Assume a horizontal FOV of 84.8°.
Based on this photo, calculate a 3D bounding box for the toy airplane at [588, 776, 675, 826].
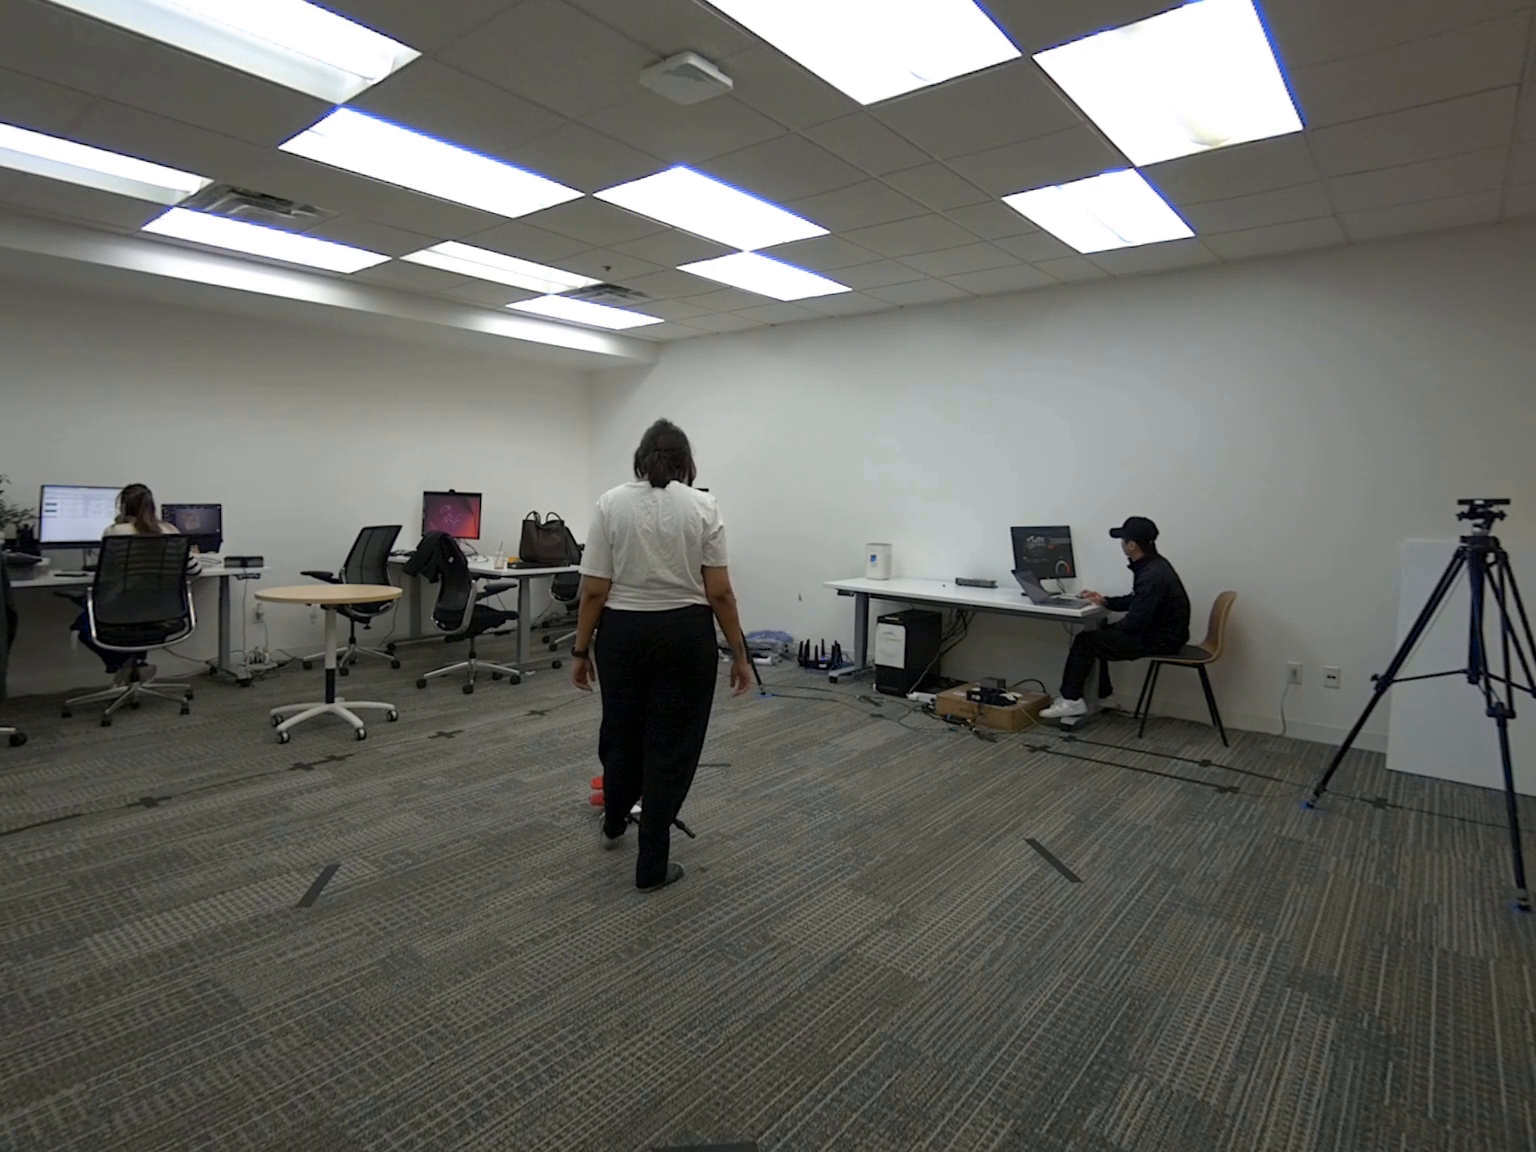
[{"bbox_3d":[-0.620,0.933,3.620,0.268,0.156,0.243,5,5,42],"label":"toy airplane"}]
